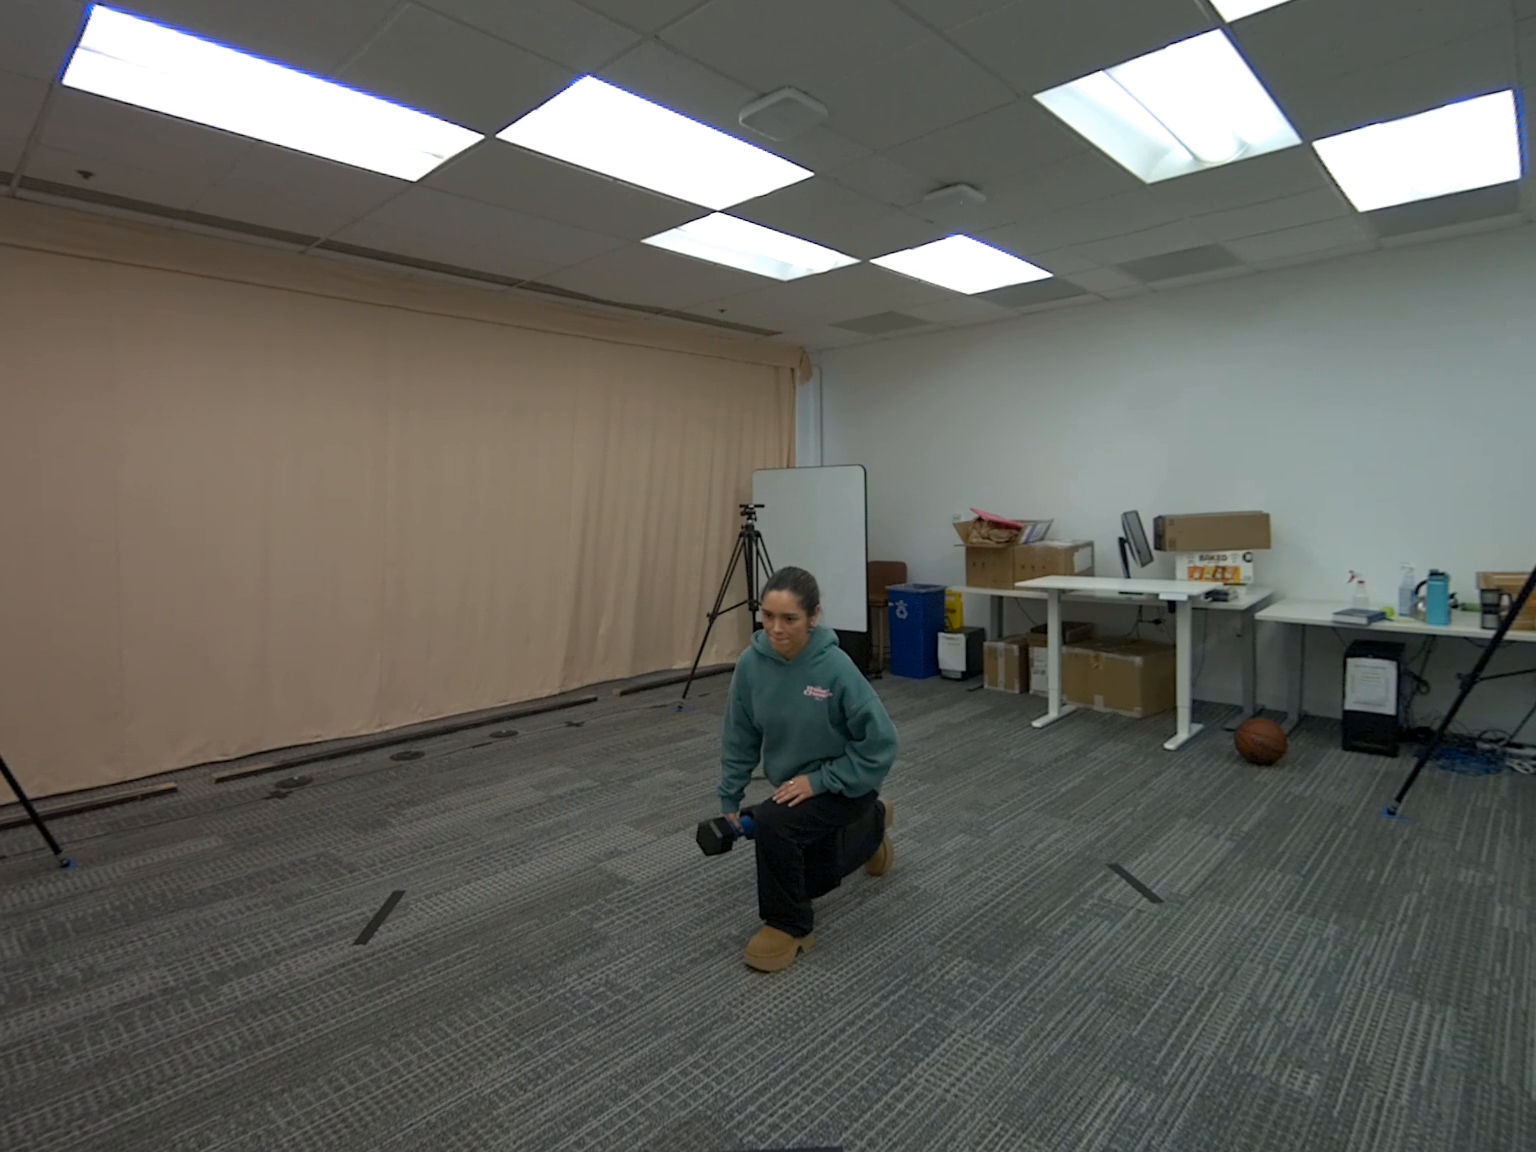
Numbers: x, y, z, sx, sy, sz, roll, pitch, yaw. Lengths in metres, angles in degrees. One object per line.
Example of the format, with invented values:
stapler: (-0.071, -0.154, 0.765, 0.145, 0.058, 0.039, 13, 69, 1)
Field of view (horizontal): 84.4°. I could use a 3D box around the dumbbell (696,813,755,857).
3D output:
dumbbell: (-0.098, 0.831, 2.773, 0.284, 0.109, 0.127, -1, 41, -50)
